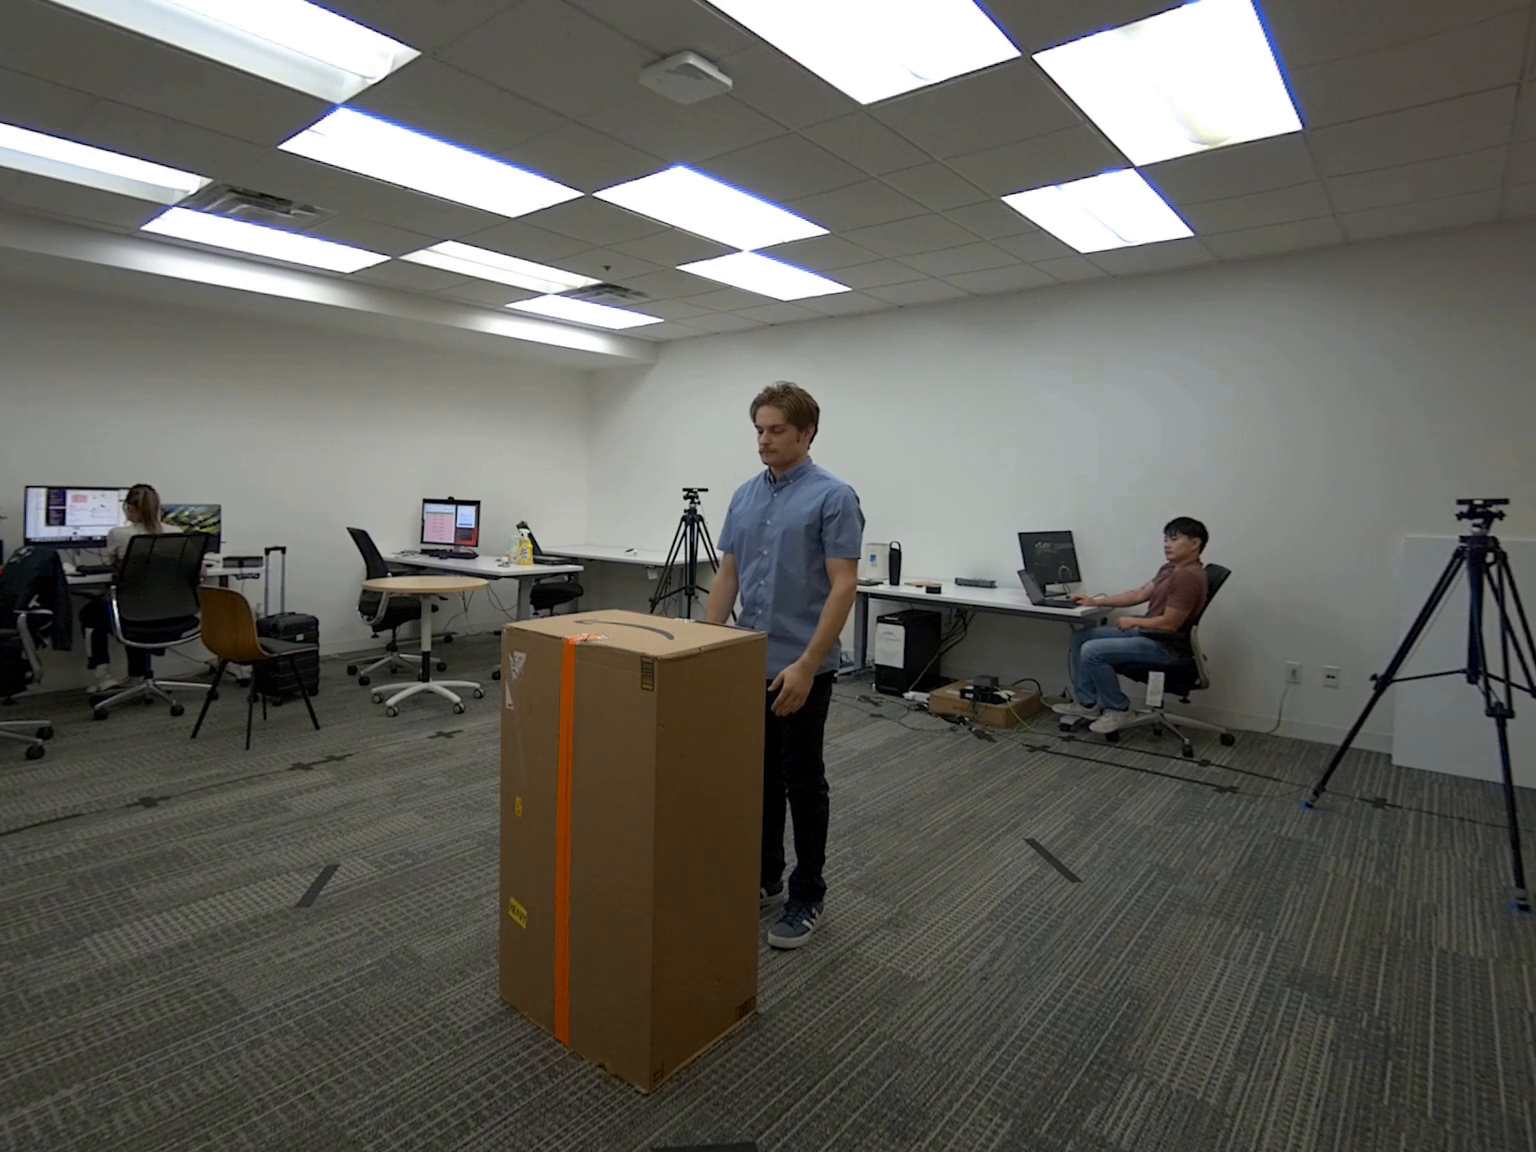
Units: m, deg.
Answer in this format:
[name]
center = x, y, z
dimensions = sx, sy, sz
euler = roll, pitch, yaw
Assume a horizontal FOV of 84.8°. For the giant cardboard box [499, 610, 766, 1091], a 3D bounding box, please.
[giant cardboard box]
center = -0.375, 0.645, 2.247
dimensions = 0.597, 1.023, 0.413
euler = 4, 4, 38
